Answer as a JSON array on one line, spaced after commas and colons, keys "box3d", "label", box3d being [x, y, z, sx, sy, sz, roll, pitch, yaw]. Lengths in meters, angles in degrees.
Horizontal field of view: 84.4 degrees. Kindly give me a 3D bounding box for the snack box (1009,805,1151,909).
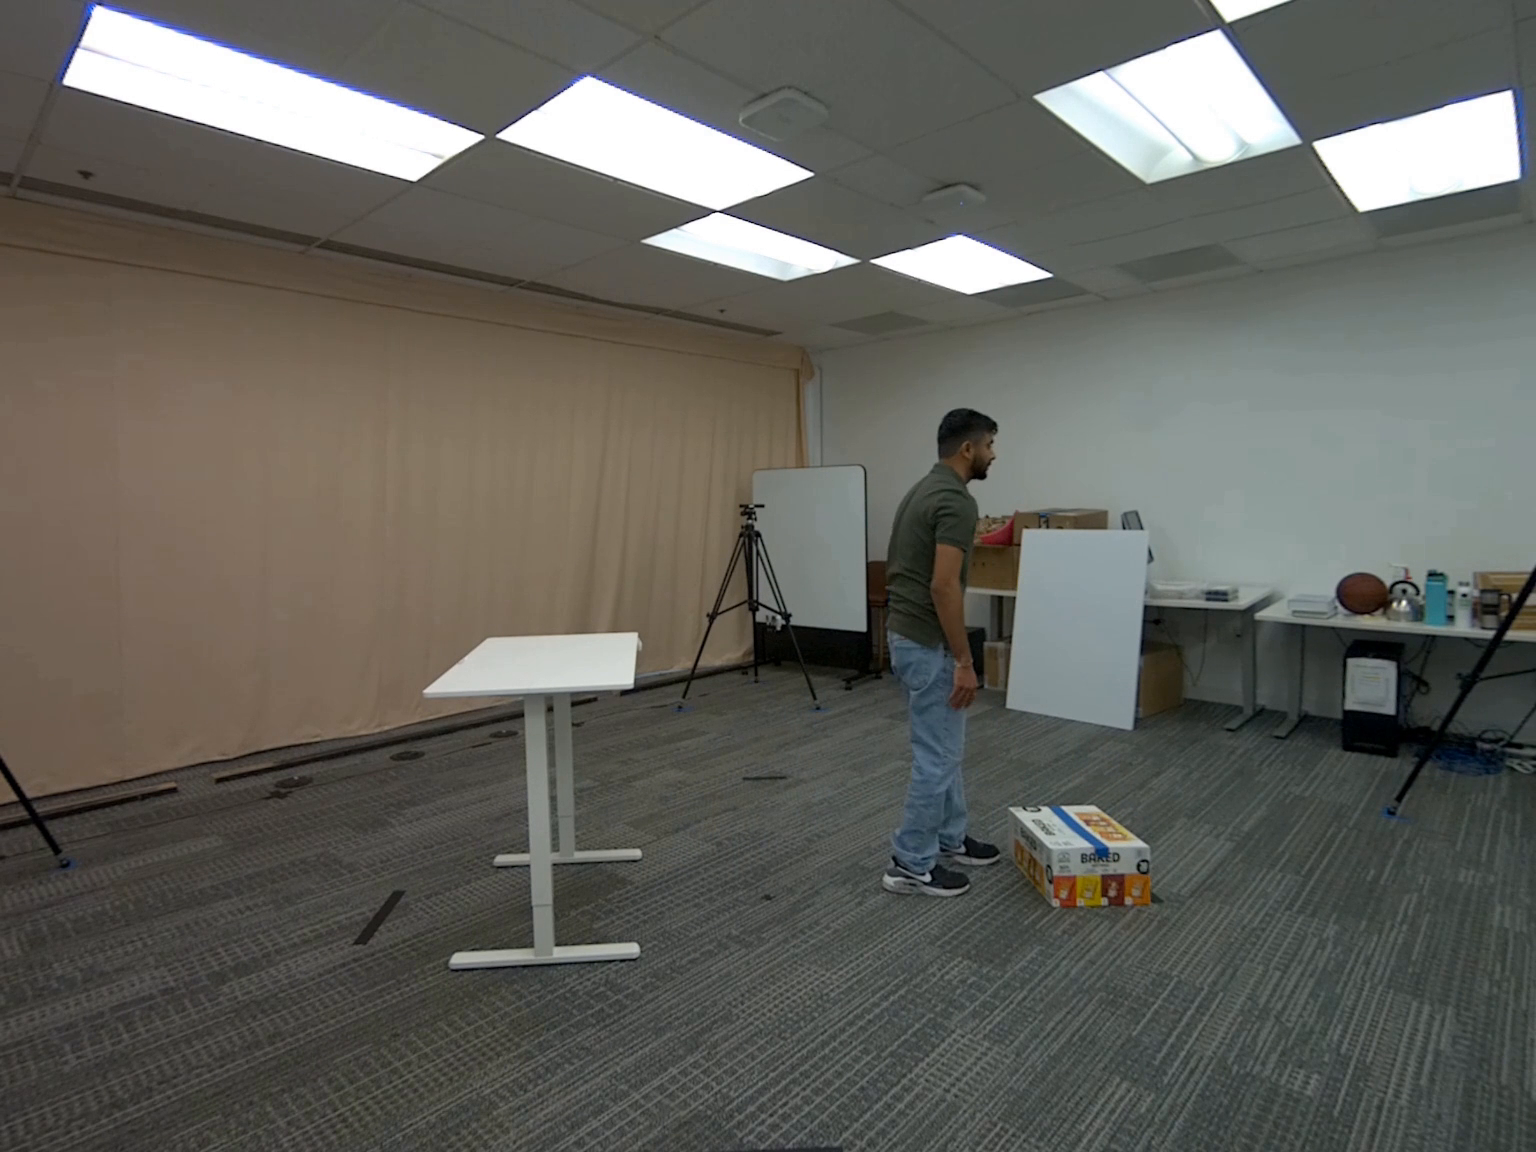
[{"box3d": [1.128, 1.016, 3.076, 0.339, 0.205, 0.407, 0, 4, -4], "label": "snack box"}]
